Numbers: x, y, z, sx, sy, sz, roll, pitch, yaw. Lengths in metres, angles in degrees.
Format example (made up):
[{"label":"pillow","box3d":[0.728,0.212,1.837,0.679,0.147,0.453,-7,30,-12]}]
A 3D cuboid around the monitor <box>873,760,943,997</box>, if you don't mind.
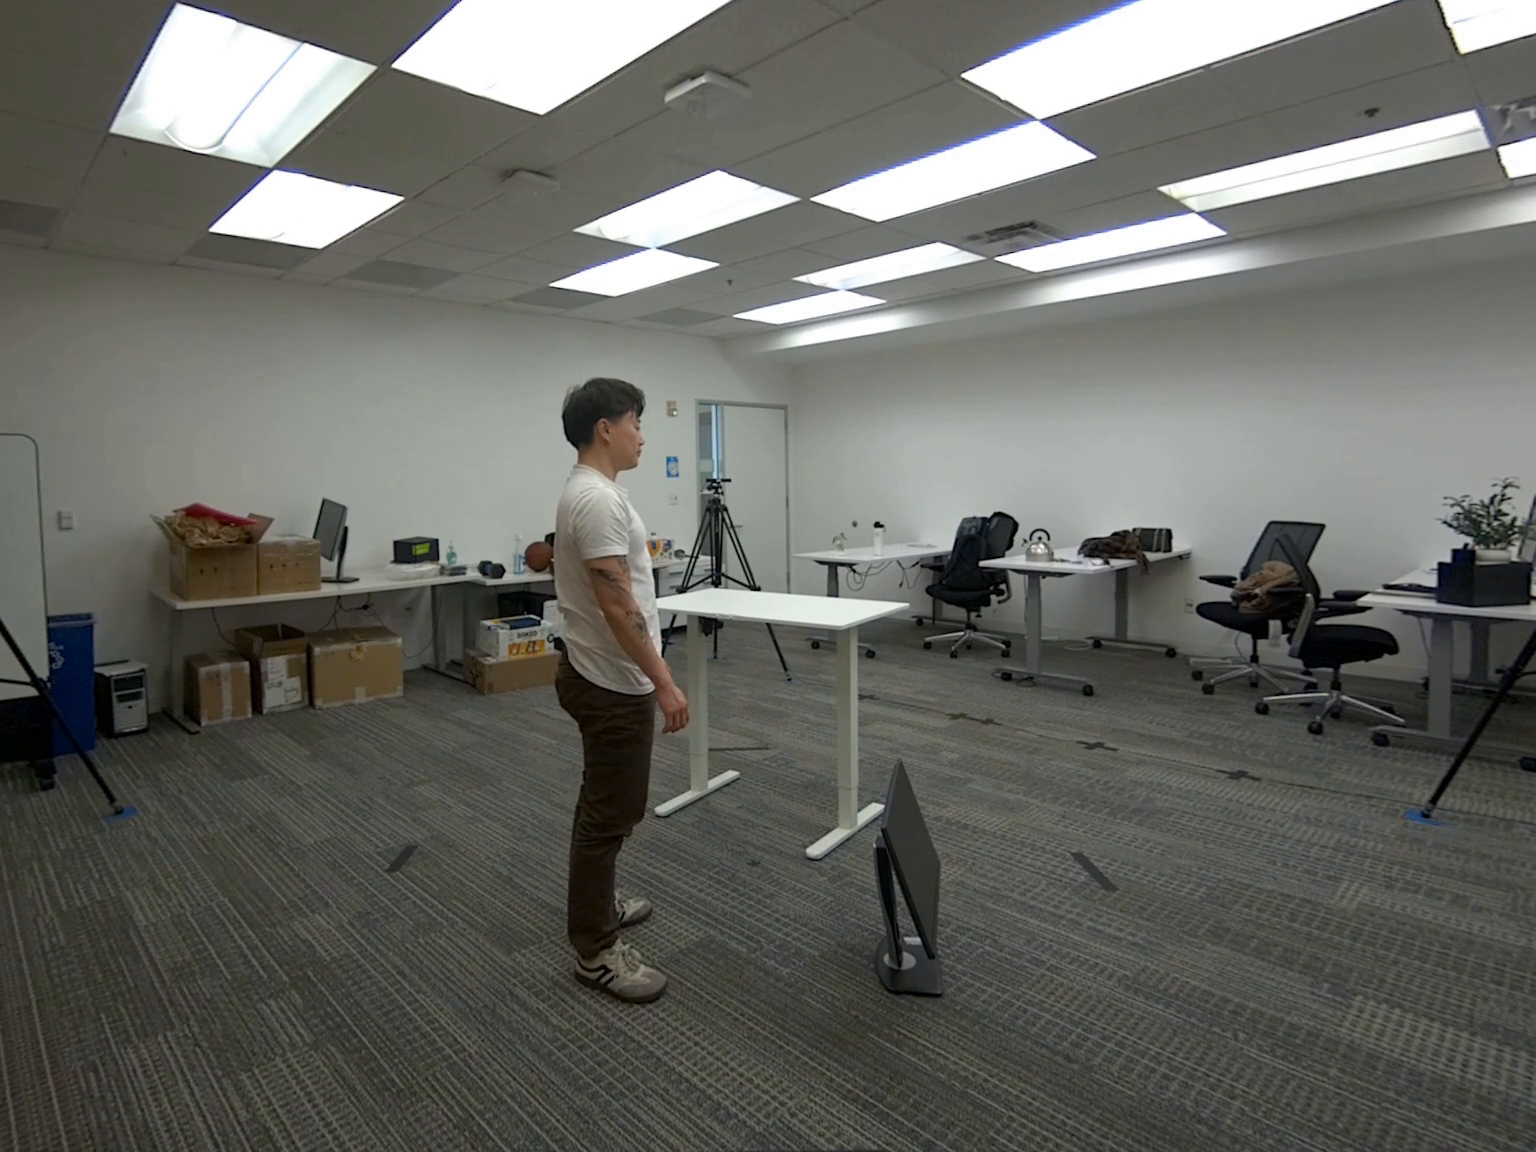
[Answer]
[{"label":"monitor","box3d":[0.385,0.856,2.417,0.189,0.520,0.536,-3,6,9]}]
